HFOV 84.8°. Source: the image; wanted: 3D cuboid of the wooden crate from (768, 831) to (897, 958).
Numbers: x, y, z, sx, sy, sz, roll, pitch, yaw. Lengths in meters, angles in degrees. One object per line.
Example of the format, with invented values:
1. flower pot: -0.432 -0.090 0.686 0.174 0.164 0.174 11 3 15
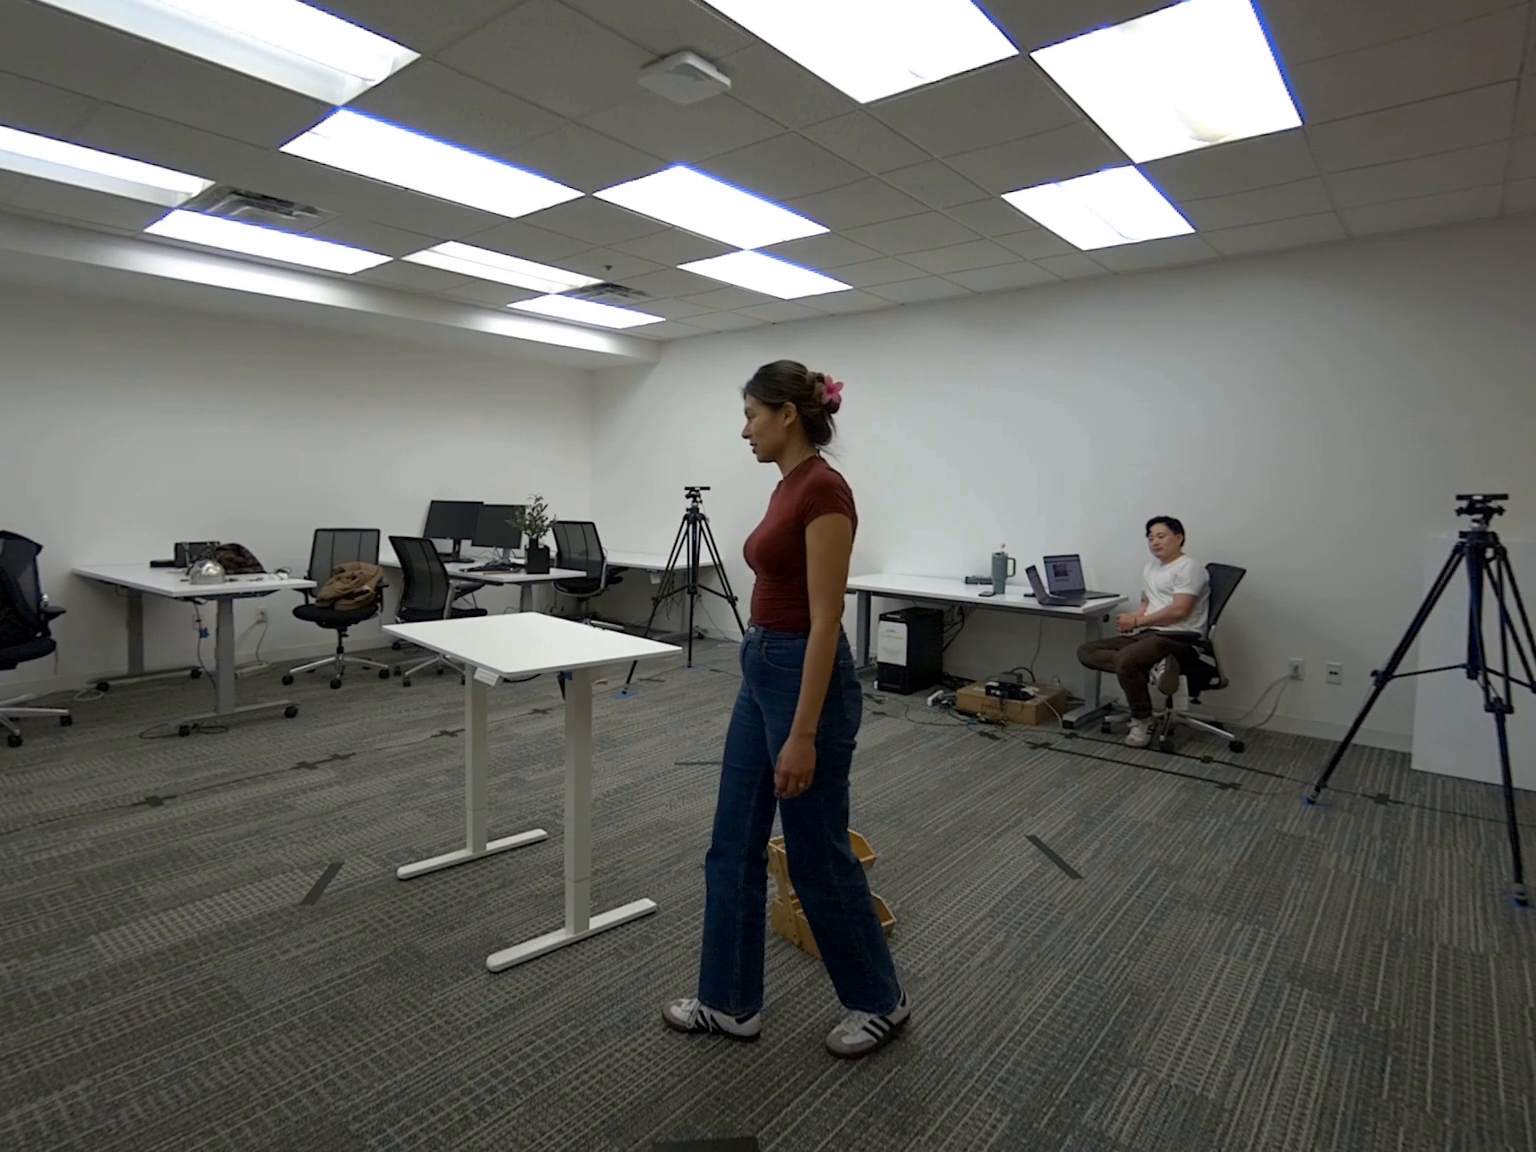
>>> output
1. wooden crate: 0.191 0.977 2.689 0.315 0.272 0.312 -2 5 -37
